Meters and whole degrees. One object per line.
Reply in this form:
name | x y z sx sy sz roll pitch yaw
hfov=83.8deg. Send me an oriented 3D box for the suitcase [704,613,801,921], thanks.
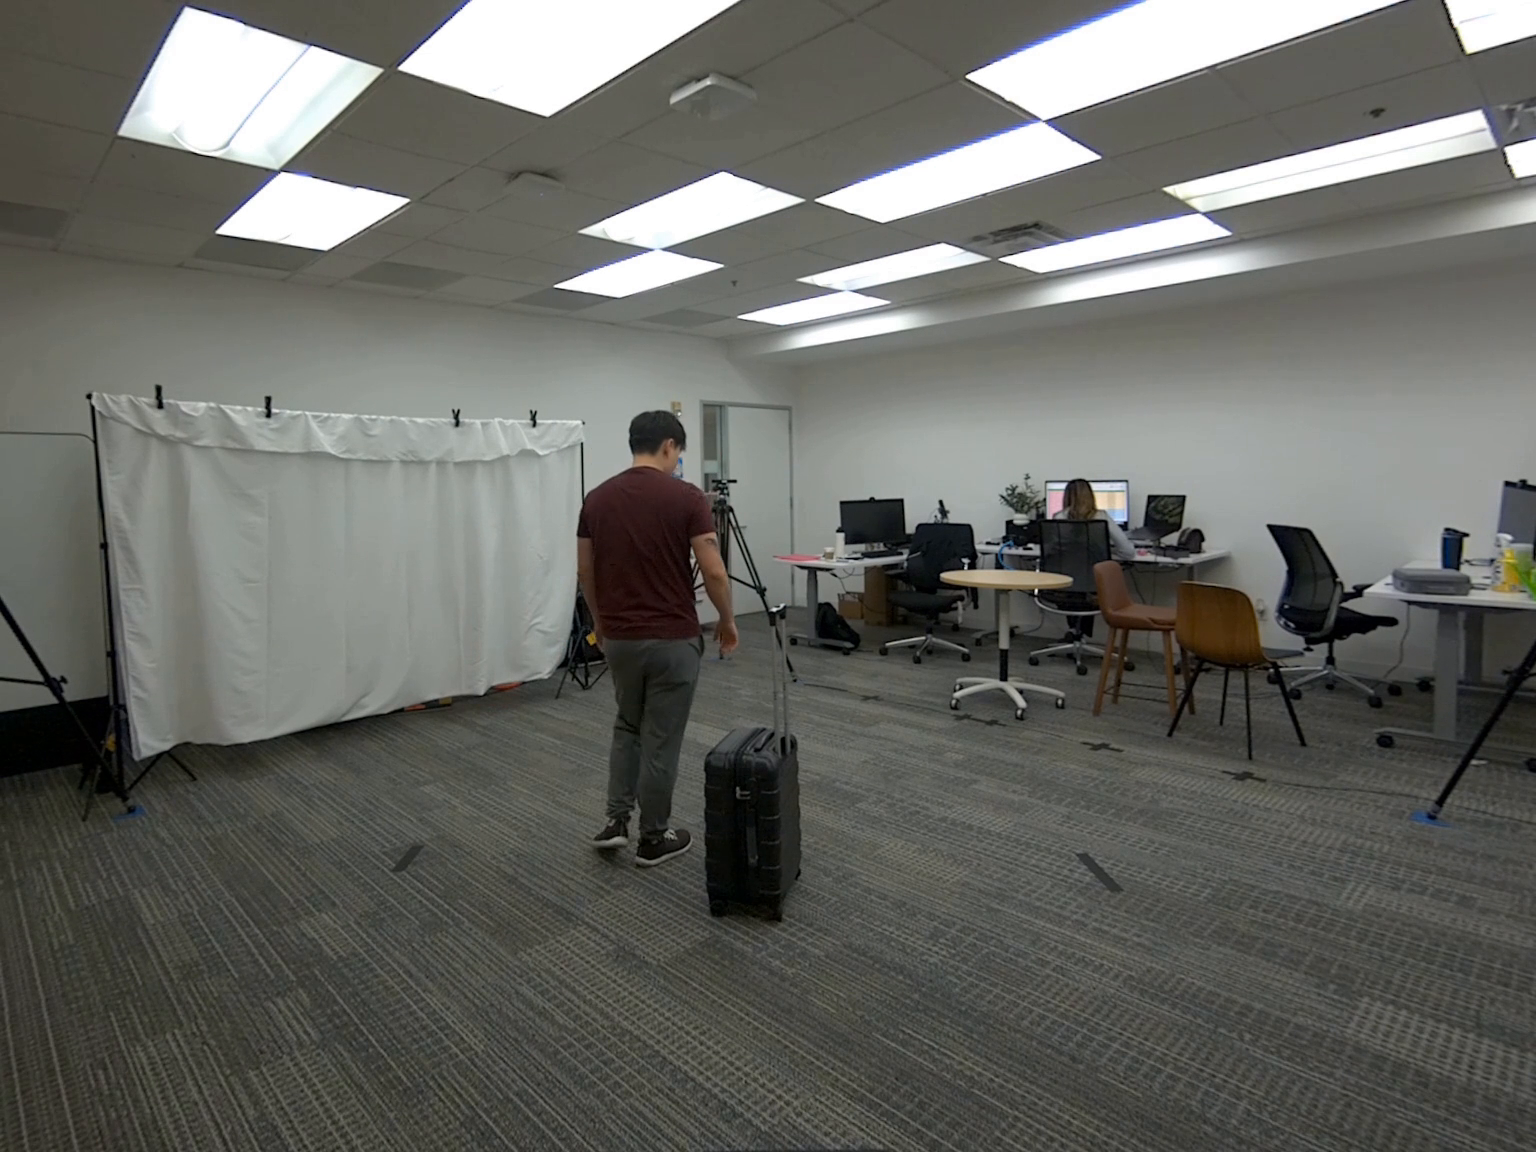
suitcase | -0.054 0.597 2.827 0.261 0.975 0.380 -2 4 15
